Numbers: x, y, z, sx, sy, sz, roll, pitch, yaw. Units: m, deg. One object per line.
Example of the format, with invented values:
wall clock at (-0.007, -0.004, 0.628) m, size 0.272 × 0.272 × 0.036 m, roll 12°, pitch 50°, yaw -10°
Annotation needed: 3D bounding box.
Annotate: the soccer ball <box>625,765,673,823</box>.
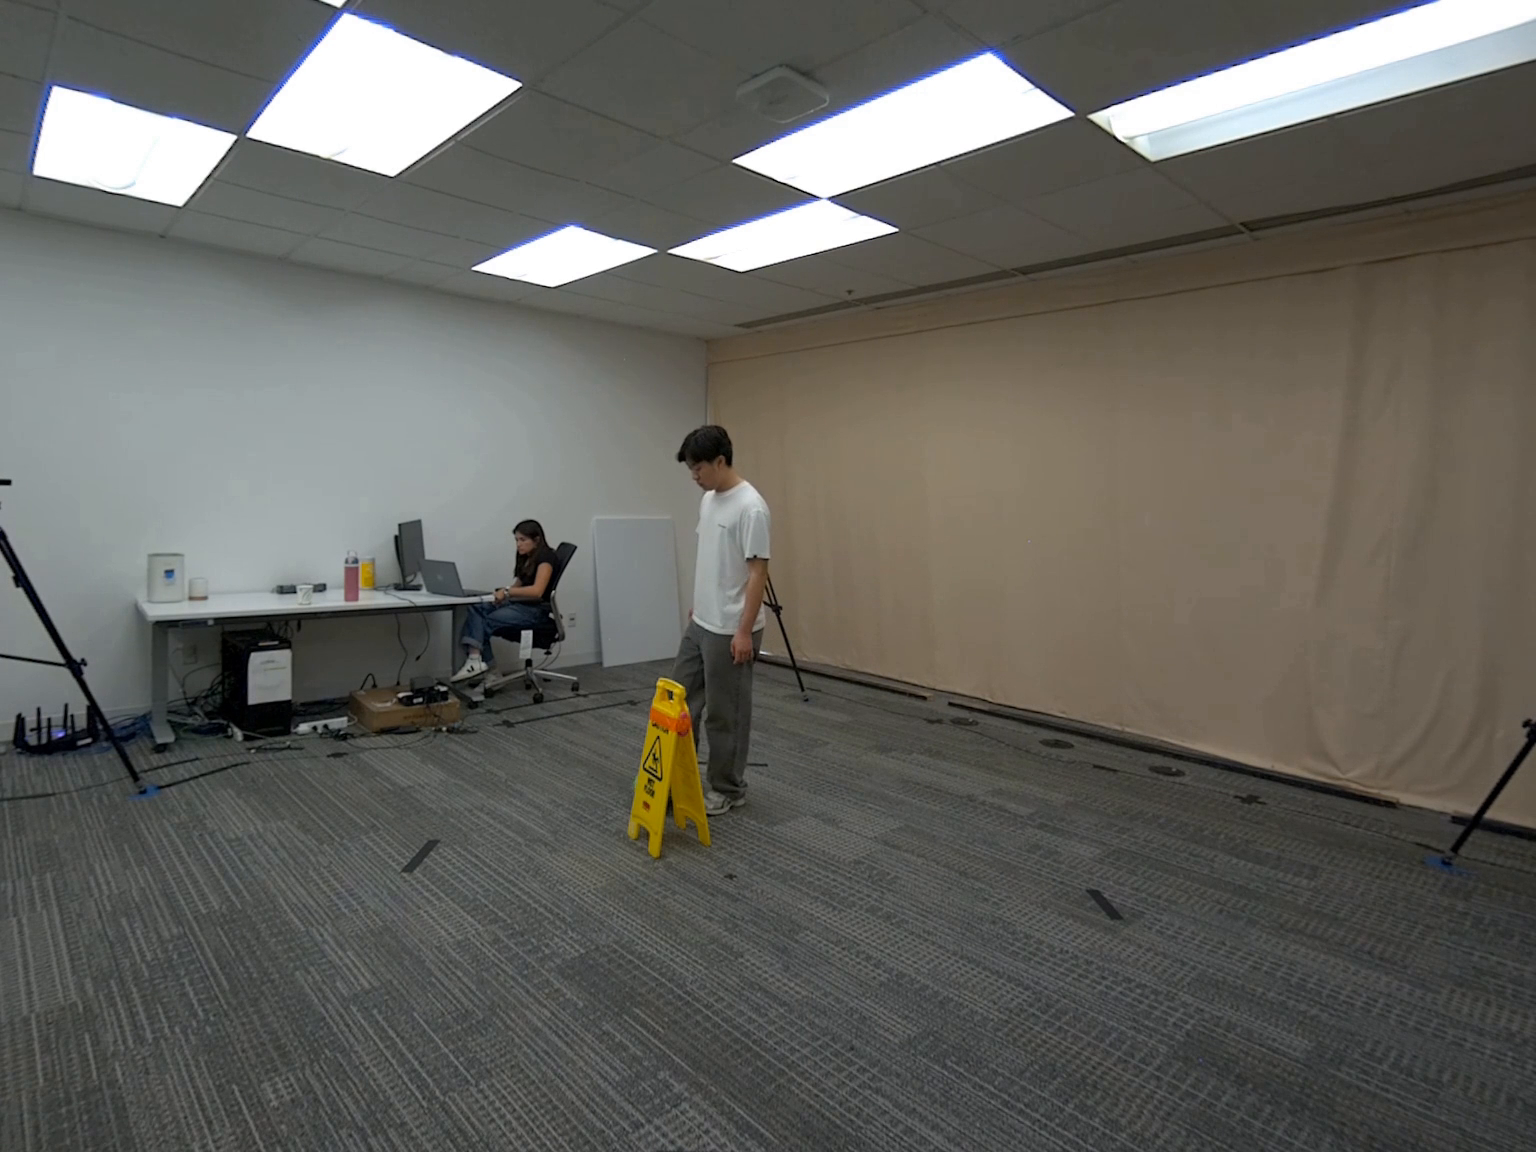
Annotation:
soccer ball at (-0.527, 0.958, 3.734) m, size 0.187 × 0.187 × 0.188 m, roll 1°, pitch 4°, yaw -1°
